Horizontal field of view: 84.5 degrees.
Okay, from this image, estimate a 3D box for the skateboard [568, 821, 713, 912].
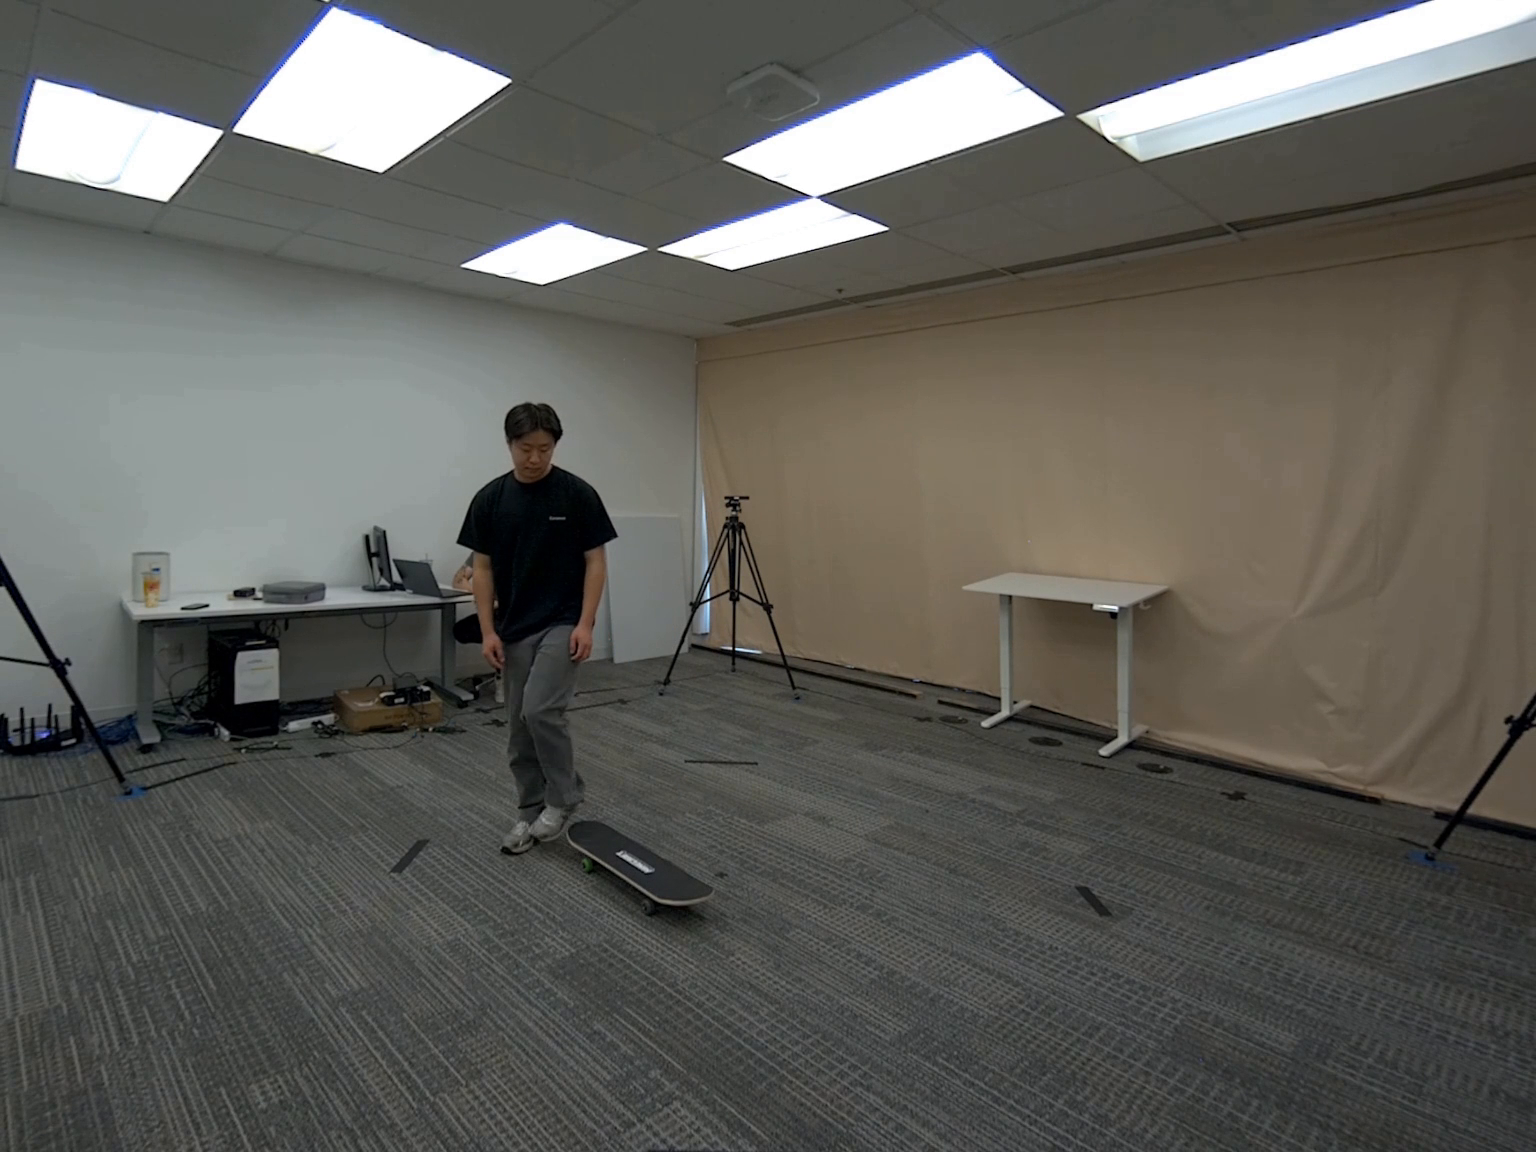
[{"bbox_3d":[-0.485,1.055,3.000,0.189,0.110,0.806,-3,7,-41],"label":"skateboard"}]
